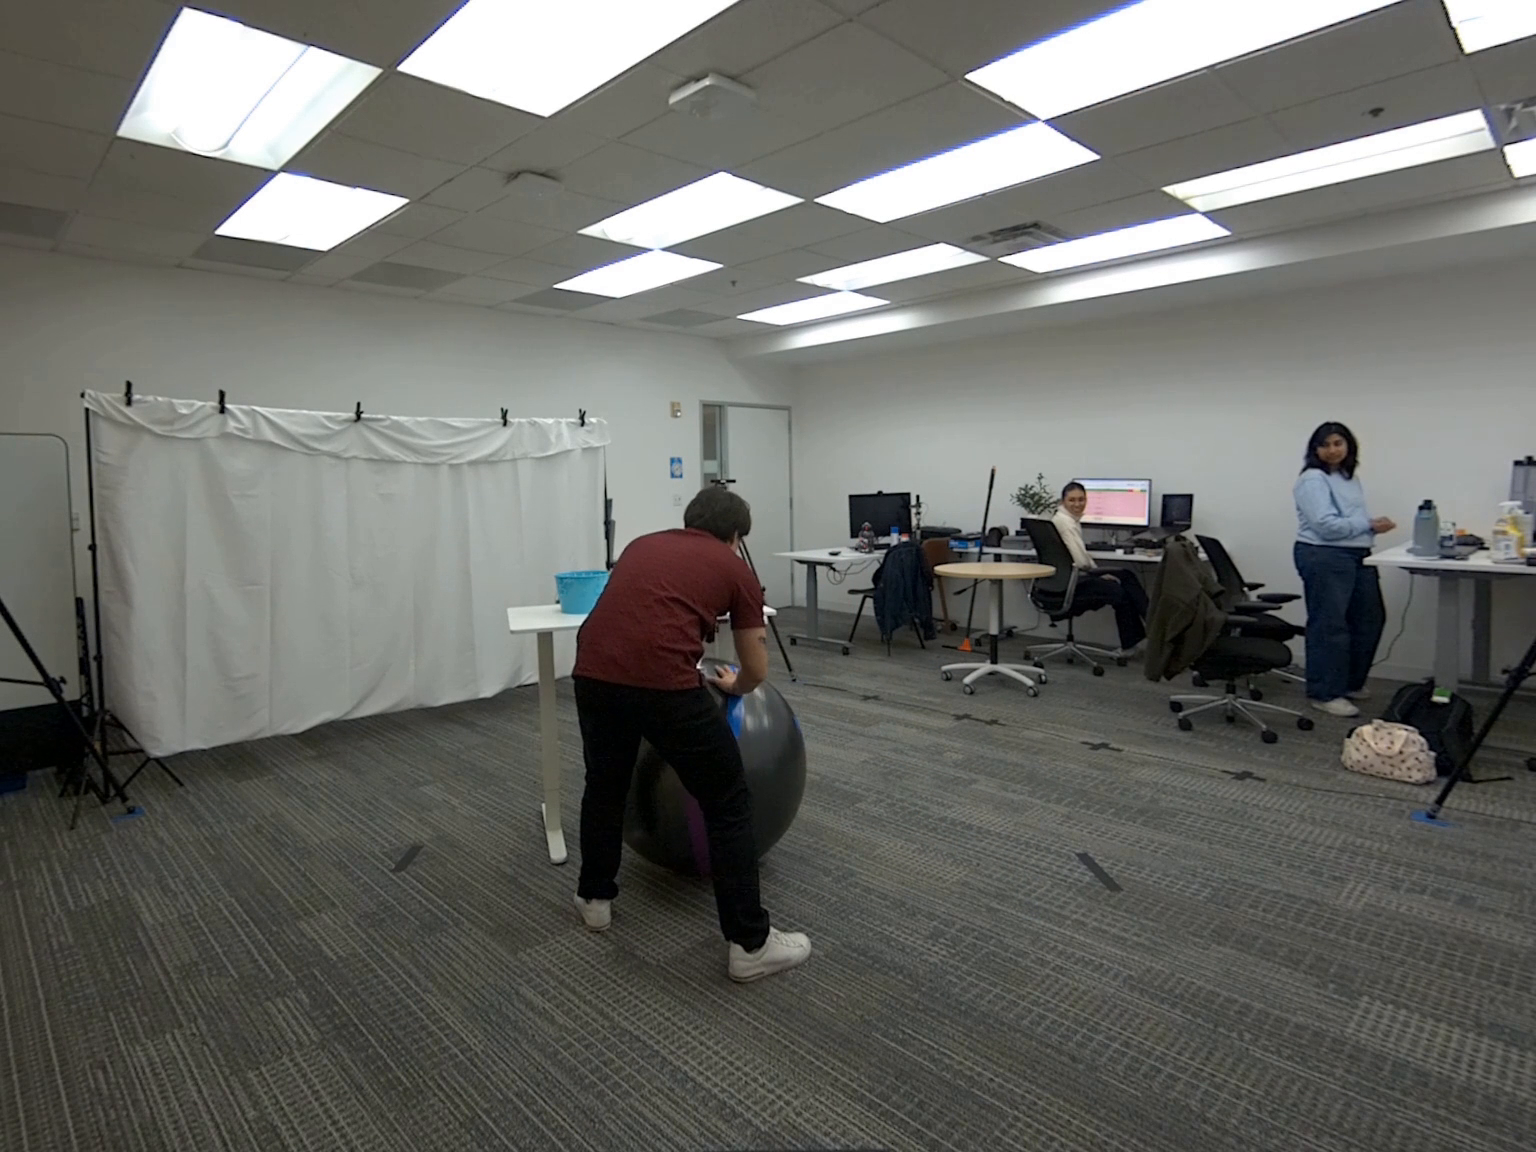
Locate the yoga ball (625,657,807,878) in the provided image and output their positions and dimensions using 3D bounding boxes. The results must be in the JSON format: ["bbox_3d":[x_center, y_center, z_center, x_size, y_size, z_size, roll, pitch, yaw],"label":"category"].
[{"bbox_3d":[-0.238,0.684,3.097,0.757,0.755,0.762,-1,5,-2],"label":"yoga ball"}]
